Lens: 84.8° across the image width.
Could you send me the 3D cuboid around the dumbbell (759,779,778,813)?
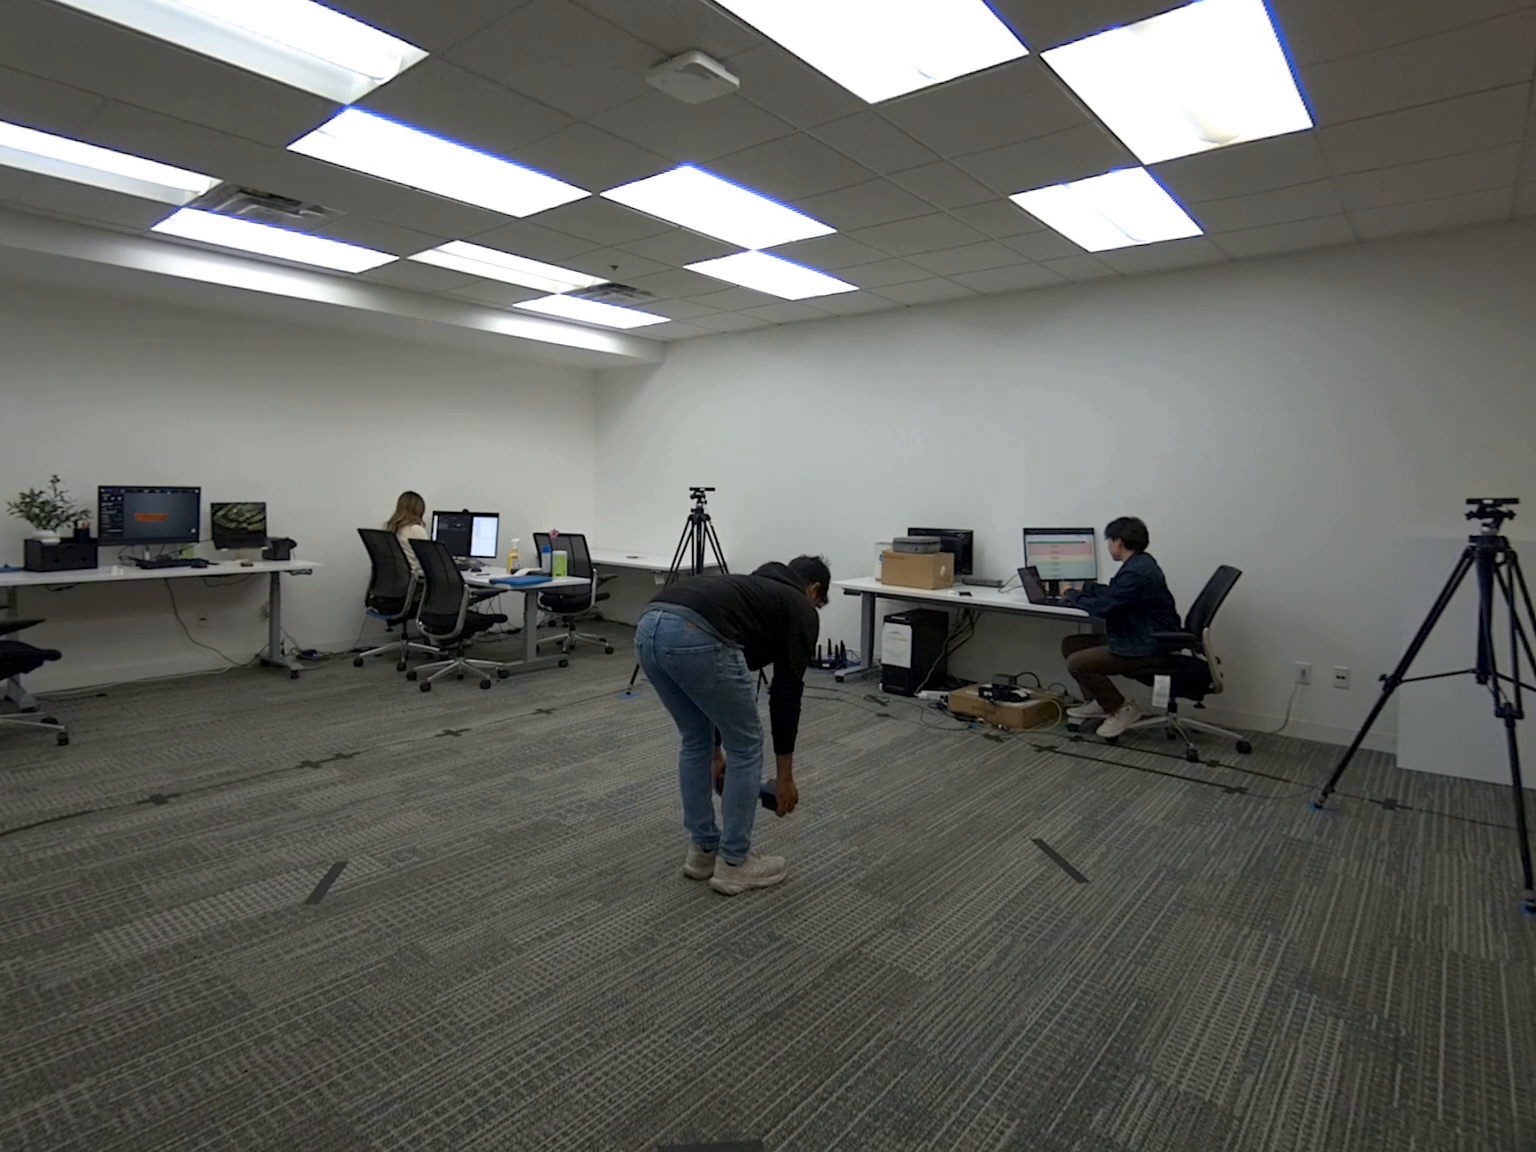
[{"bbox_3d":[-0.063,0.785,3.147,0.304,0.105,0.122,7,40,40],"label":"dumbbell"}]
